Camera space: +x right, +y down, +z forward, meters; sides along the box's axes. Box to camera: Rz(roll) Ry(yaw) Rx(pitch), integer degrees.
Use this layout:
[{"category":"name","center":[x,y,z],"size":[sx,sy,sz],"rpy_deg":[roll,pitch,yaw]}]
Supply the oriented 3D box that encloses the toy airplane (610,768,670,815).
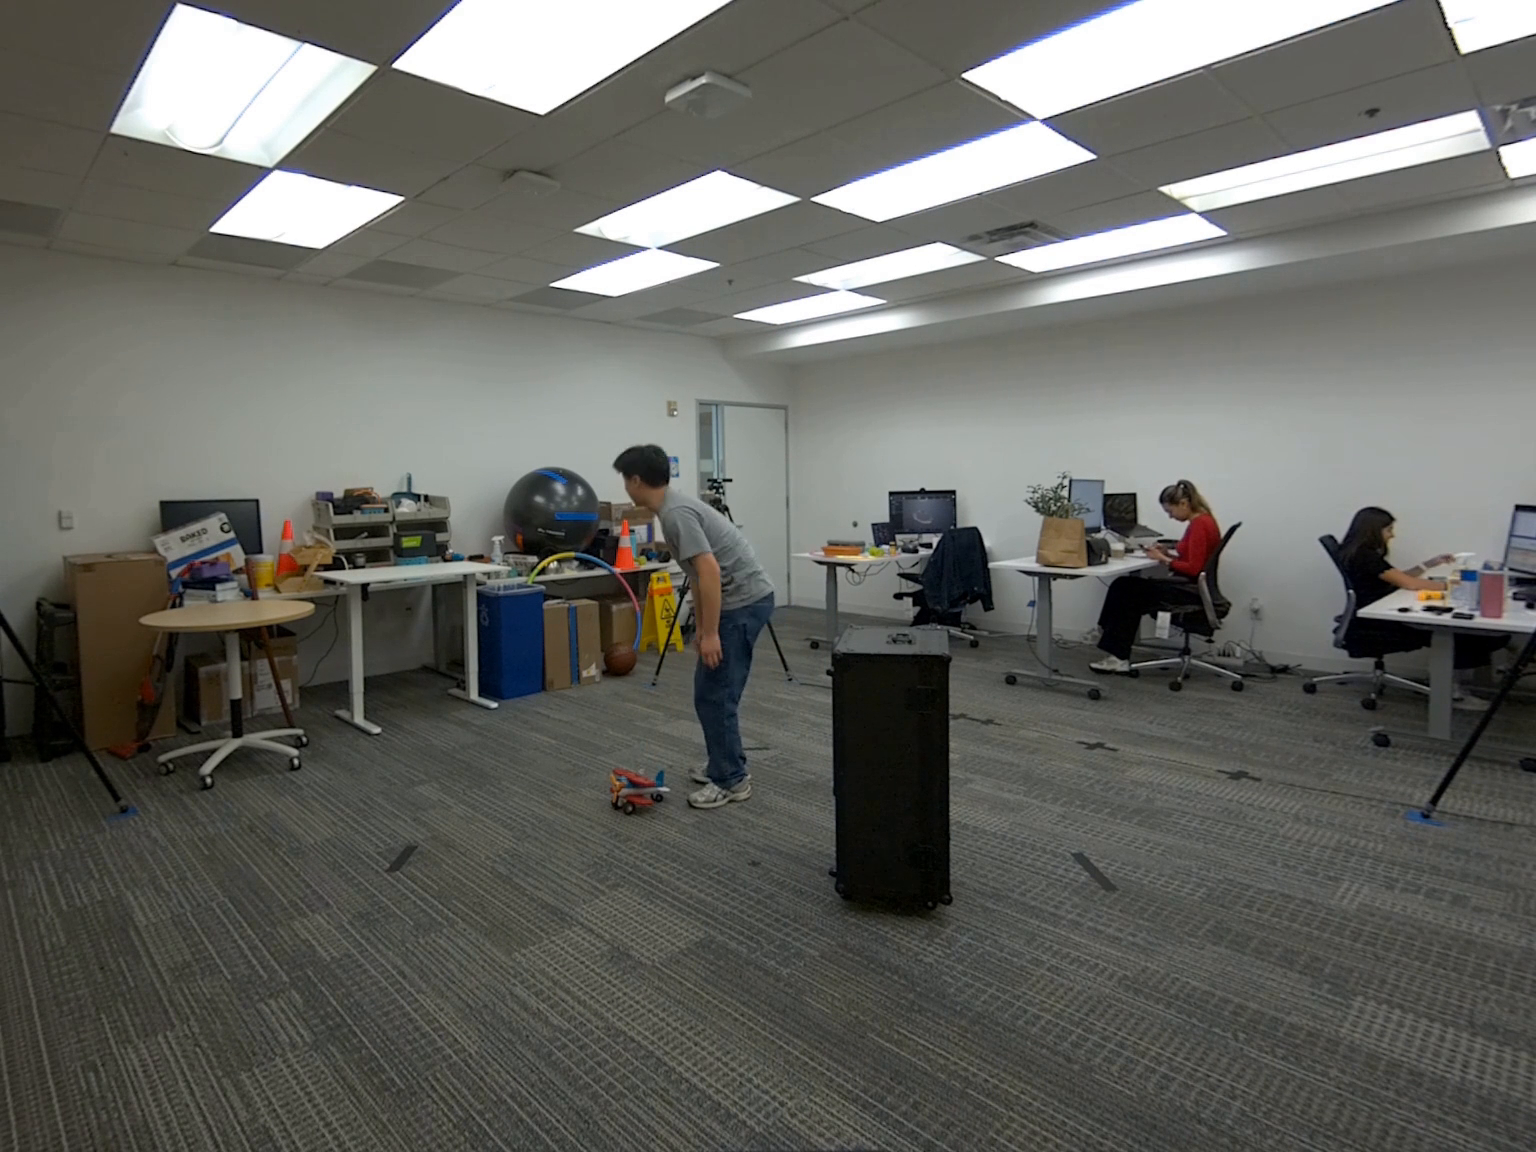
[{"category":"toy airplane","center":[-0.567,0.917,3.685],"size":[0.256,0.155,0.256],"rpy_deg":[1,7,19]}]
